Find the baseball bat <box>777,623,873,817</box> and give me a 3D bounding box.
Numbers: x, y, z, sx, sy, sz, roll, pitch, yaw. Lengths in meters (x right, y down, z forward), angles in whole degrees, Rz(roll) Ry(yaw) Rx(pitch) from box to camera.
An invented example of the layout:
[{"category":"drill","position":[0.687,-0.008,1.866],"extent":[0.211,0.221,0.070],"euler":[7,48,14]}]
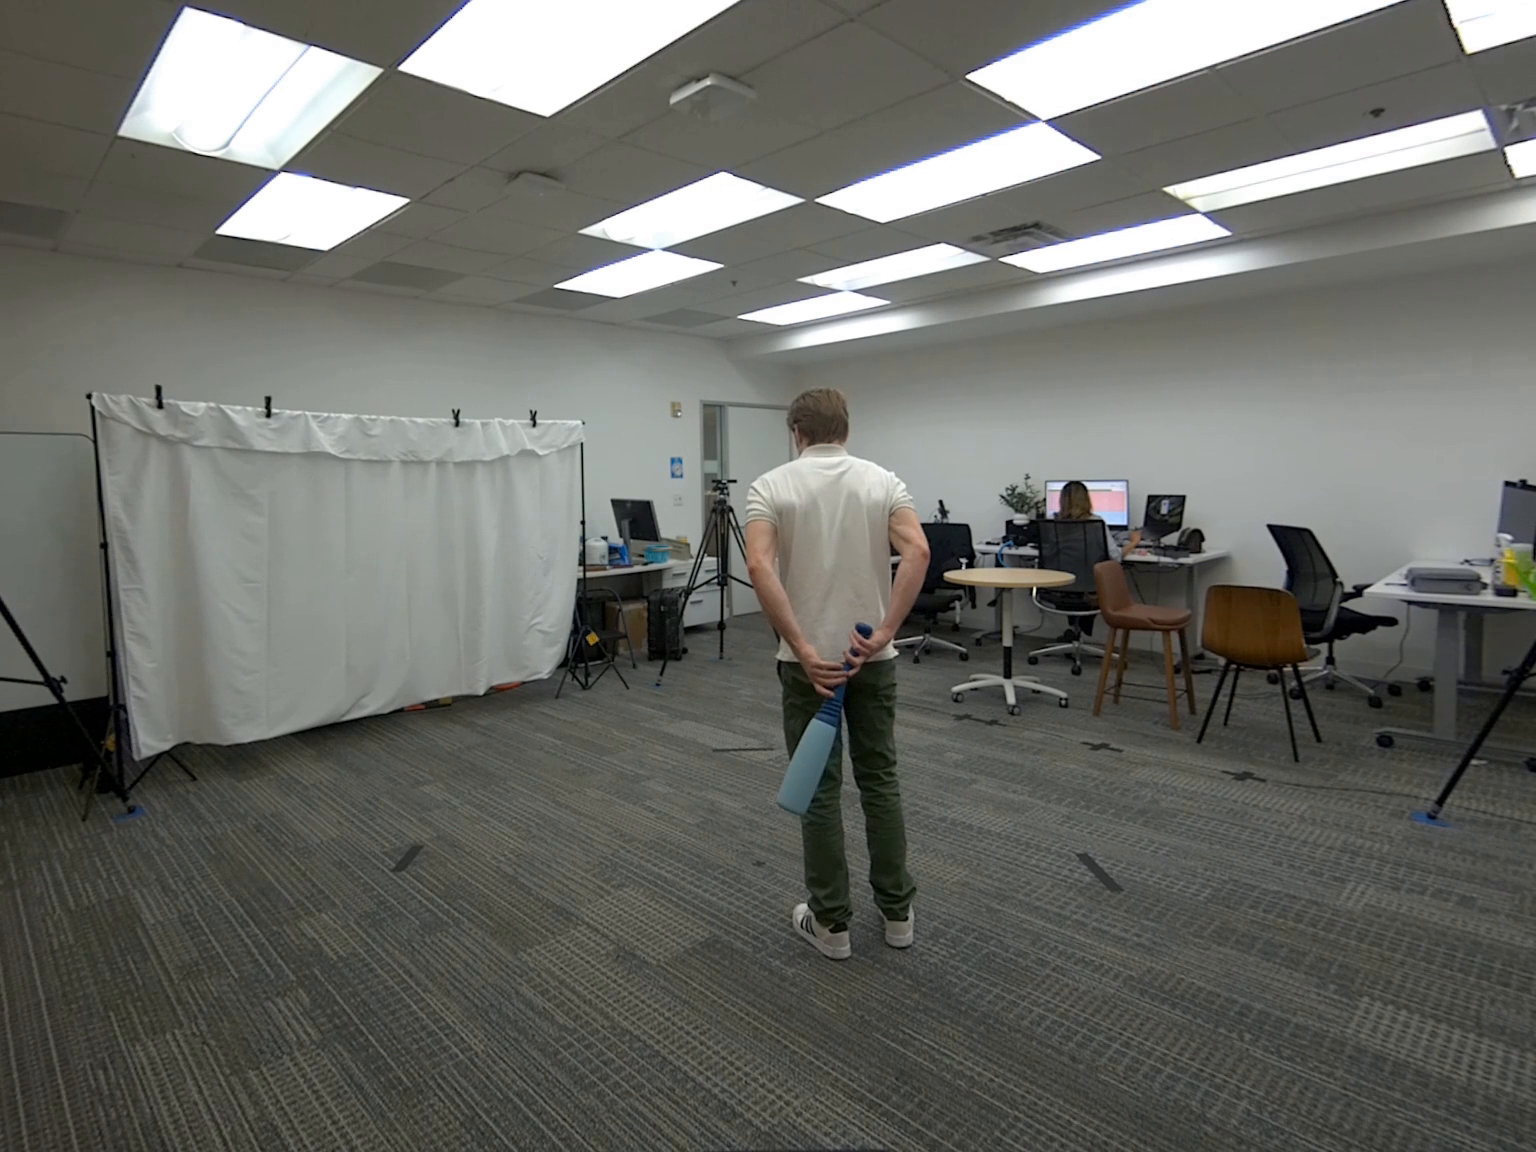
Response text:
[{"category":"baseball bat","position":[0.164,0.386,2.312],"extent":[0.089,0.546,0.088],"euler":[19,-12,2]}]
